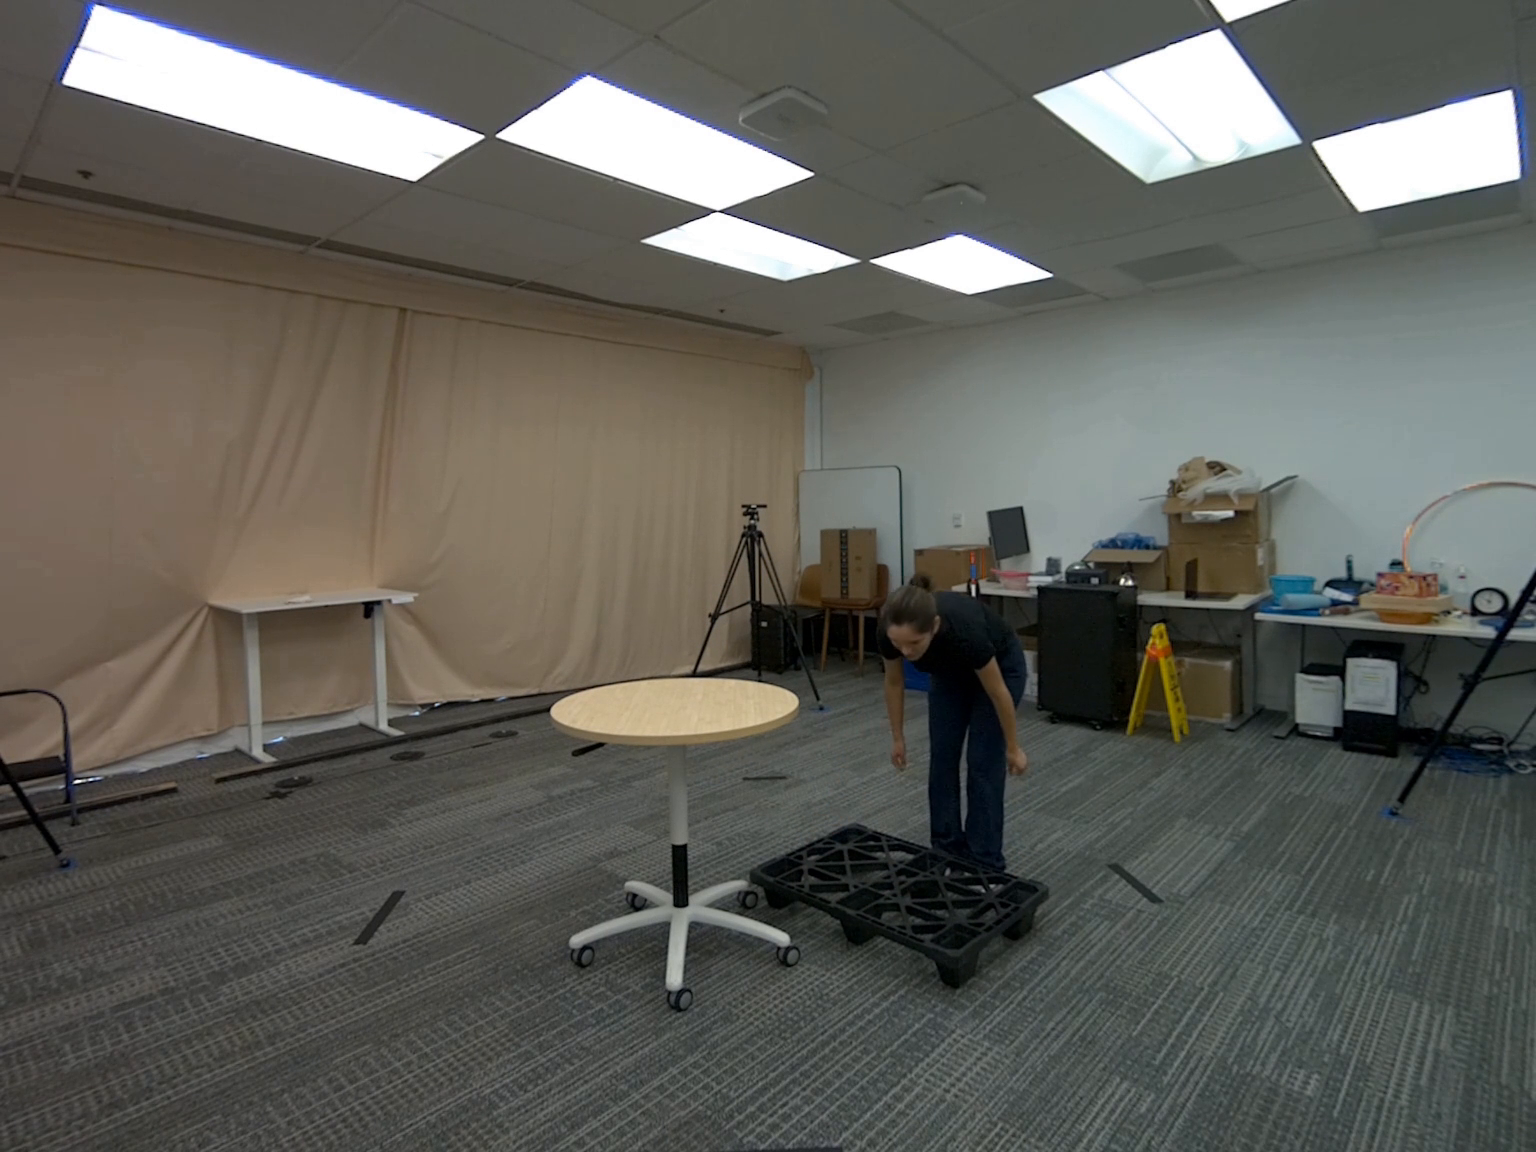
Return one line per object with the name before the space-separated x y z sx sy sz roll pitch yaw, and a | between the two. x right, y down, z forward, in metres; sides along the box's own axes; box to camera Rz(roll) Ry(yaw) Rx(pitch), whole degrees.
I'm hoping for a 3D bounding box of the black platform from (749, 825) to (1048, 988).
black platform | 0.440 1.081 2.828 0.832 0.143 0.587 4 7 43
